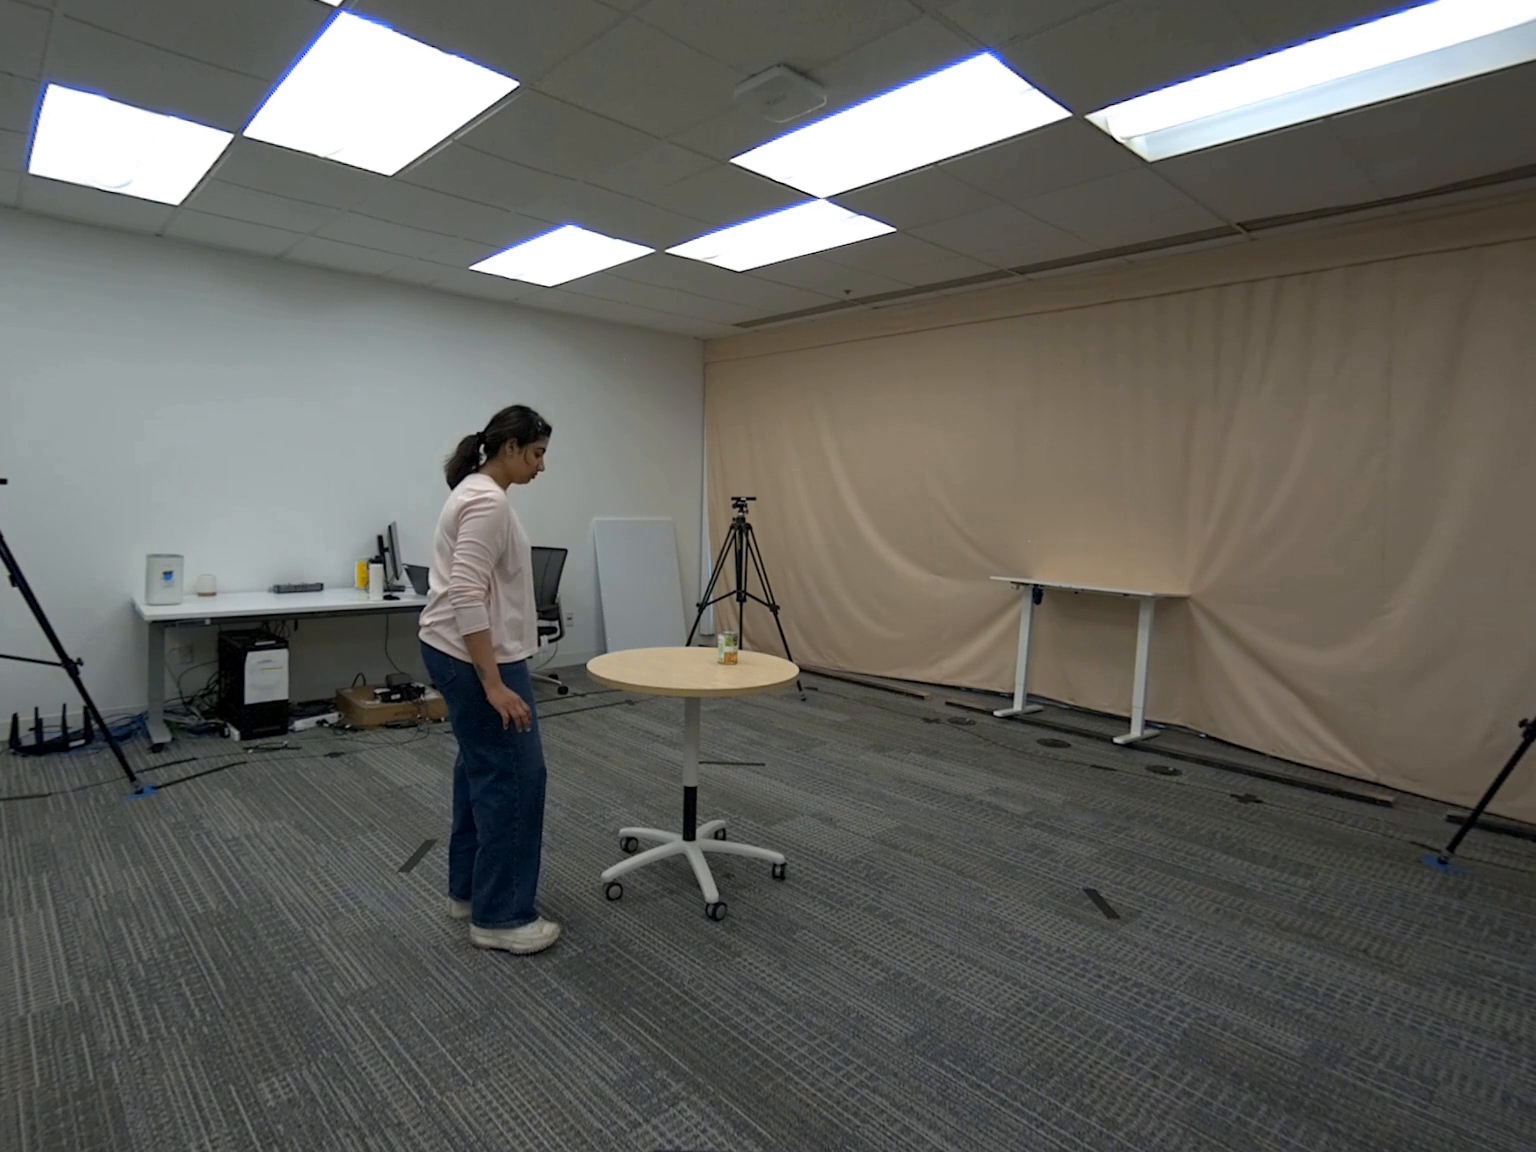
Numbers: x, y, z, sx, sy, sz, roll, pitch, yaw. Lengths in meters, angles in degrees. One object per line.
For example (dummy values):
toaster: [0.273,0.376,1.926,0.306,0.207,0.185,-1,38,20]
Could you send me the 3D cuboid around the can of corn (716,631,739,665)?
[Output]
can of corn: [-0.155,0.268,3.115,0.074,0.111,0.074,0,2,-1]
